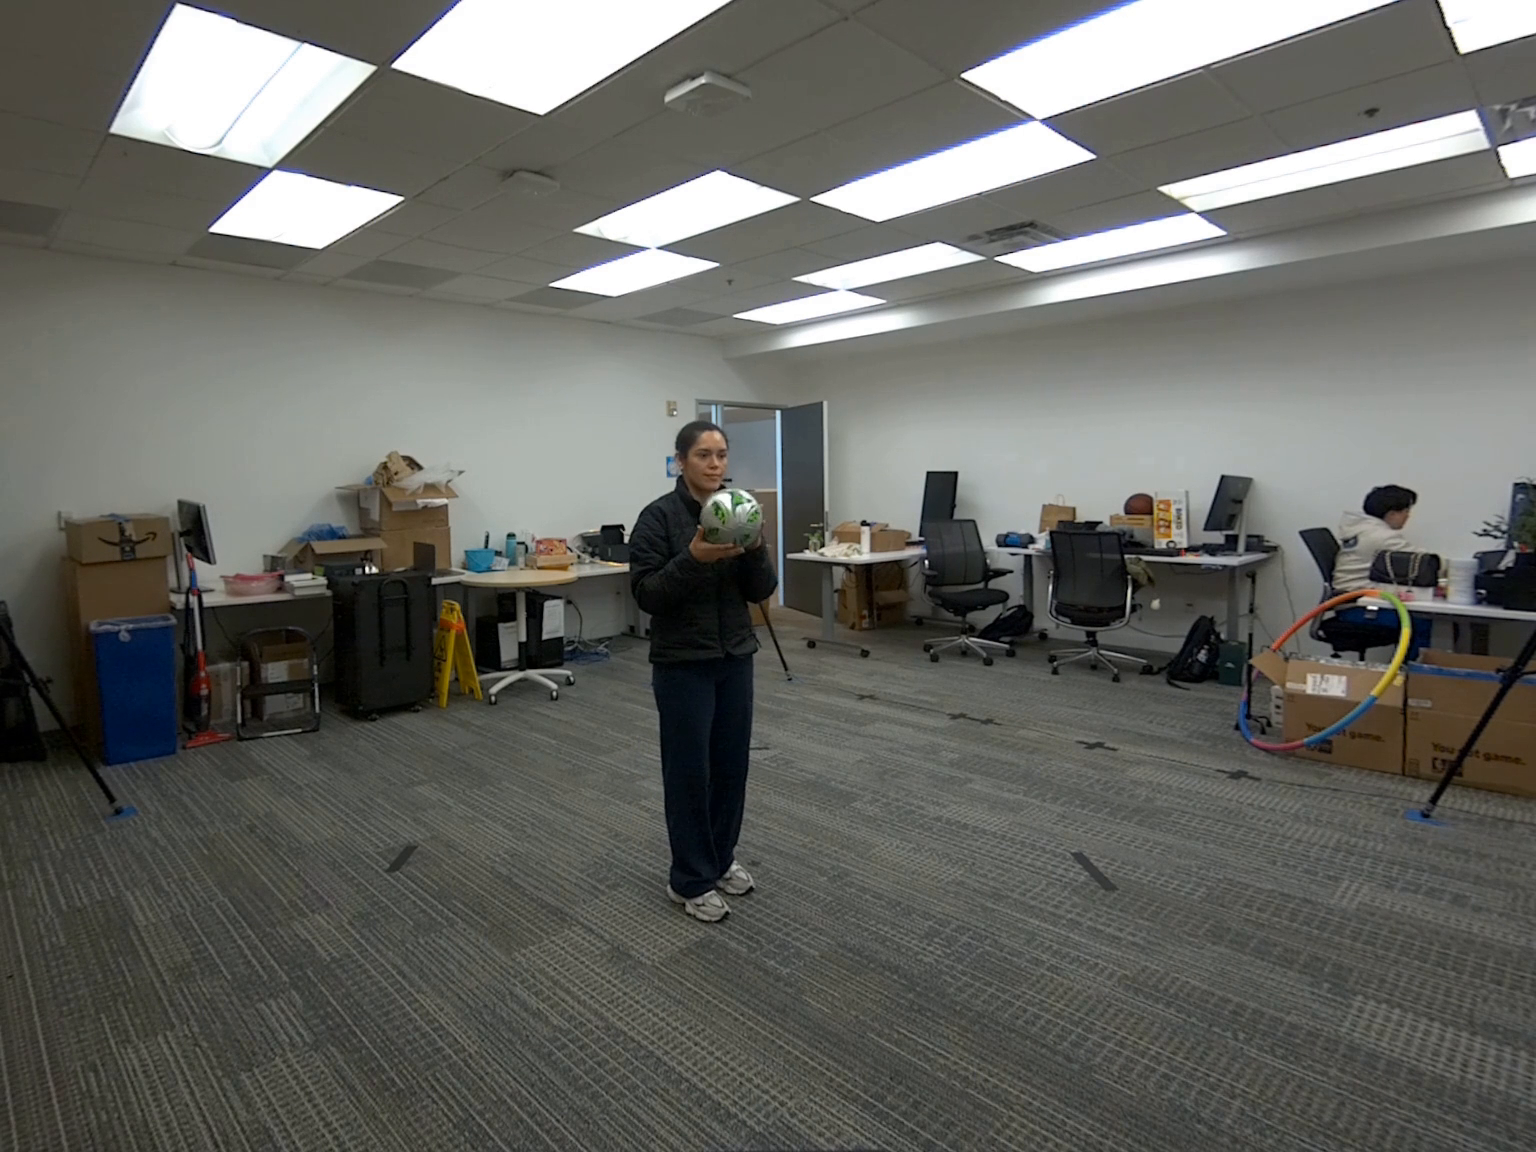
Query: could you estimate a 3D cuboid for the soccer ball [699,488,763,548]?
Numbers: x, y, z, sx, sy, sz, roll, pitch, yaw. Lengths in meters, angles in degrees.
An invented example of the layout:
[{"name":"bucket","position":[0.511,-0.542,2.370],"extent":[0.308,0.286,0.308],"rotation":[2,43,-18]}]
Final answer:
[{"name":"soccer ball","position":[-0.109,-0.167,2.549],"extent":[0.187,0.187,0.188],"rotation":[-1,5,-2]}]
